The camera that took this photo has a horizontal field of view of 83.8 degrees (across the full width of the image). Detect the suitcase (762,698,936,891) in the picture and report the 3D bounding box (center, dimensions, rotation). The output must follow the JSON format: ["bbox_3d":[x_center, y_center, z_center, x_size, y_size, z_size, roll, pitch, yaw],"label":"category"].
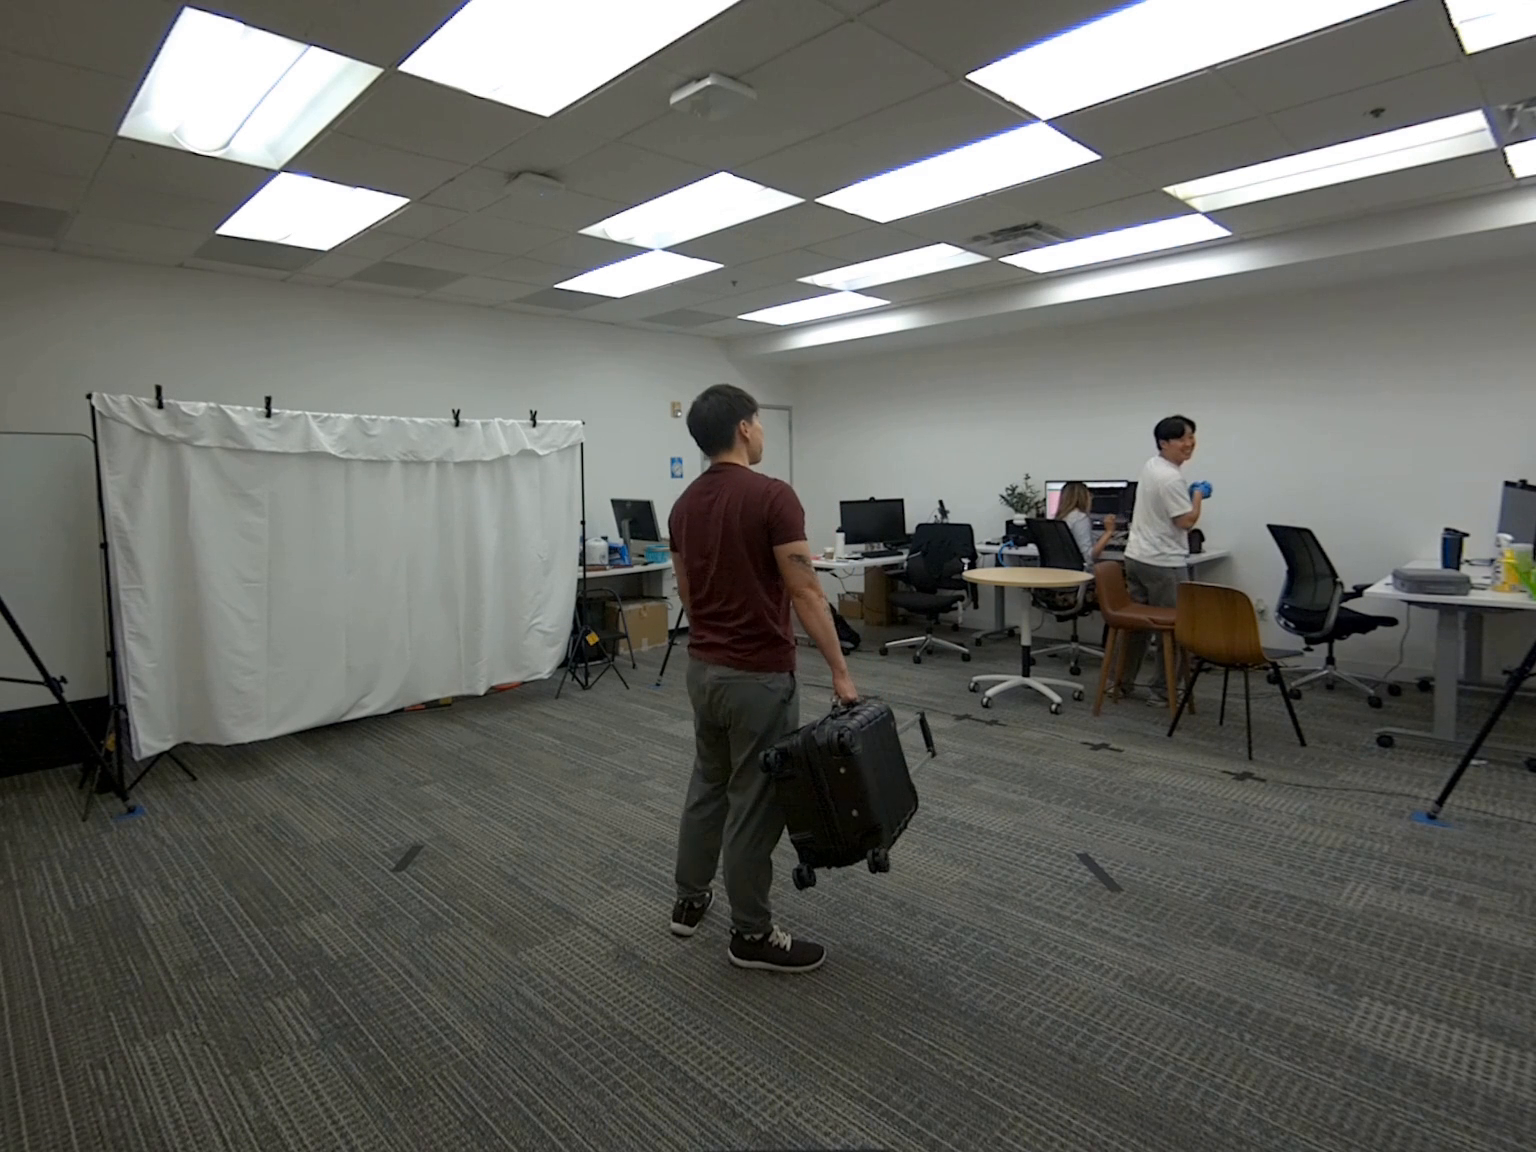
[{"bbox_3d":[0.287,0.564,2.552,0.260,0.387,0.959,-17,-5,18],"label":"suitcase"}]
